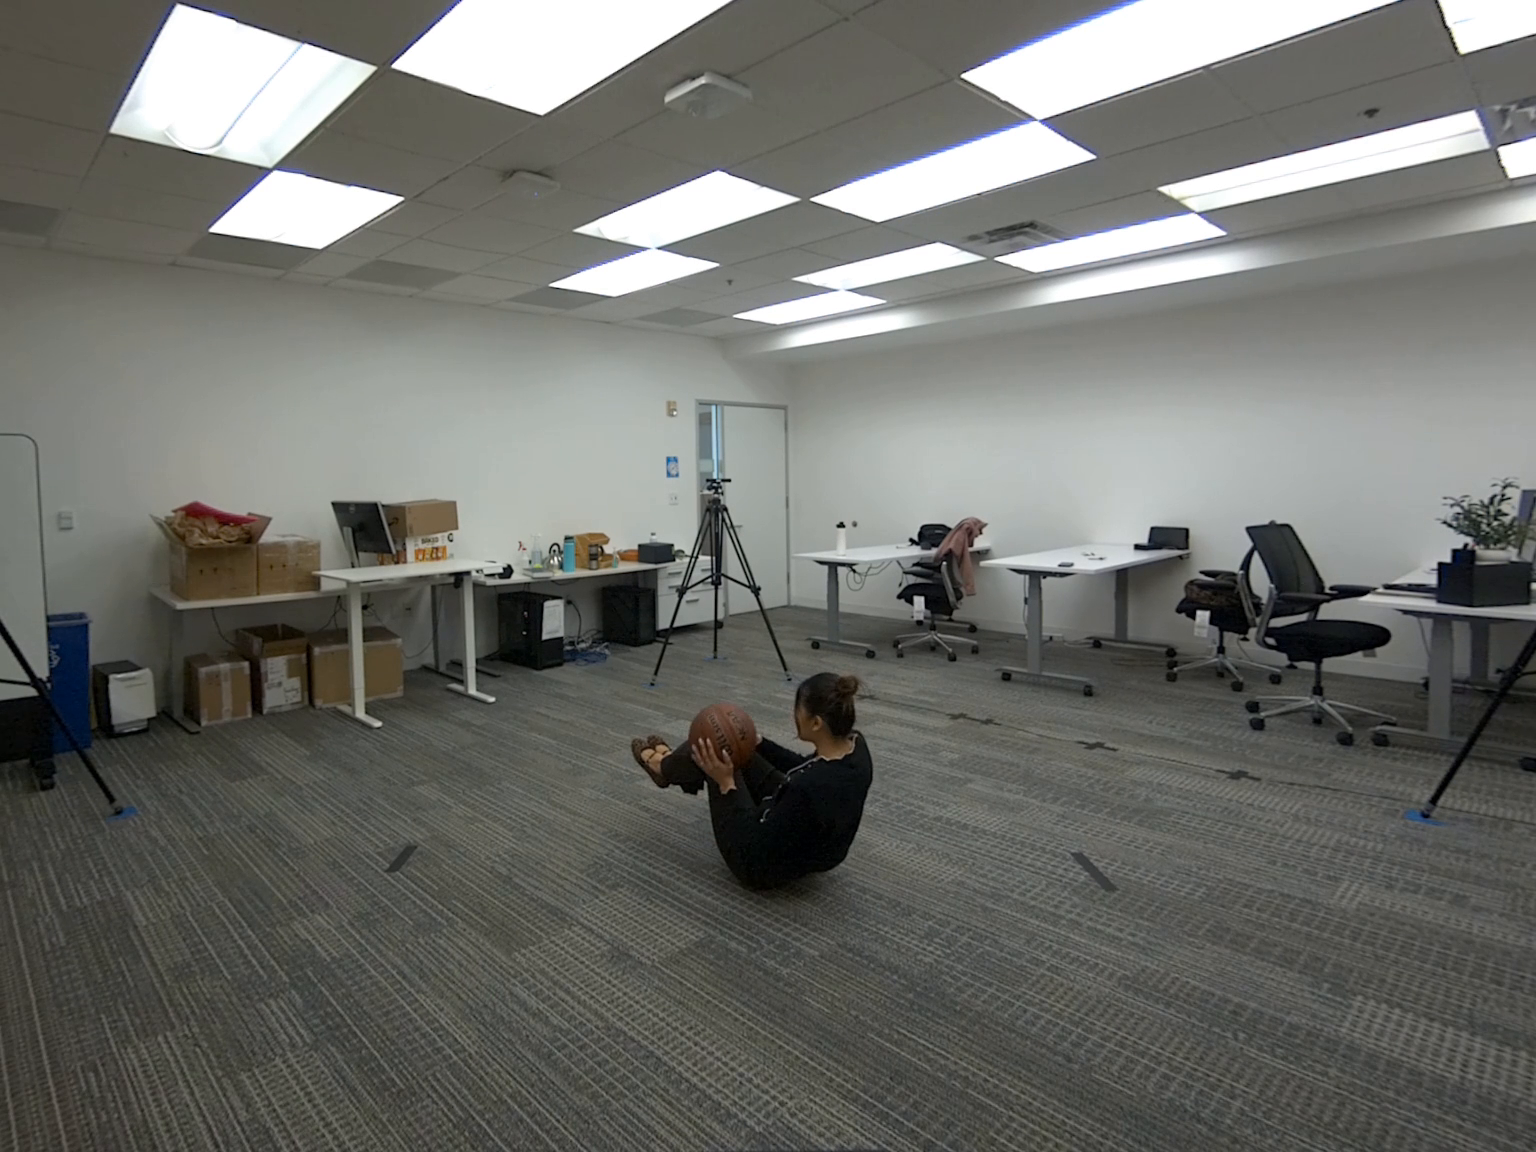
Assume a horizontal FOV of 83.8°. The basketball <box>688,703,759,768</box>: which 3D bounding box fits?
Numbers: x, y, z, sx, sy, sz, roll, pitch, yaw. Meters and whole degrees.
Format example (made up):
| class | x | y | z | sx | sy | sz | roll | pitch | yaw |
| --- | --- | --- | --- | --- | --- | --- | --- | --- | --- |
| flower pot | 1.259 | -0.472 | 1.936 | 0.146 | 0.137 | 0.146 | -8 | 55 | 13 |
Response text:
| class | x | y | z | sx | sy | sz | roll | pitch | yaw |
| --- | --- | --- | --- | --- | --- | --- | --- | --- | --- |
| basketball | -0.140 | 0.568 | 2.937 | 0.236 | 0.235 | 0.237 | -1 | 5 | -2 |
